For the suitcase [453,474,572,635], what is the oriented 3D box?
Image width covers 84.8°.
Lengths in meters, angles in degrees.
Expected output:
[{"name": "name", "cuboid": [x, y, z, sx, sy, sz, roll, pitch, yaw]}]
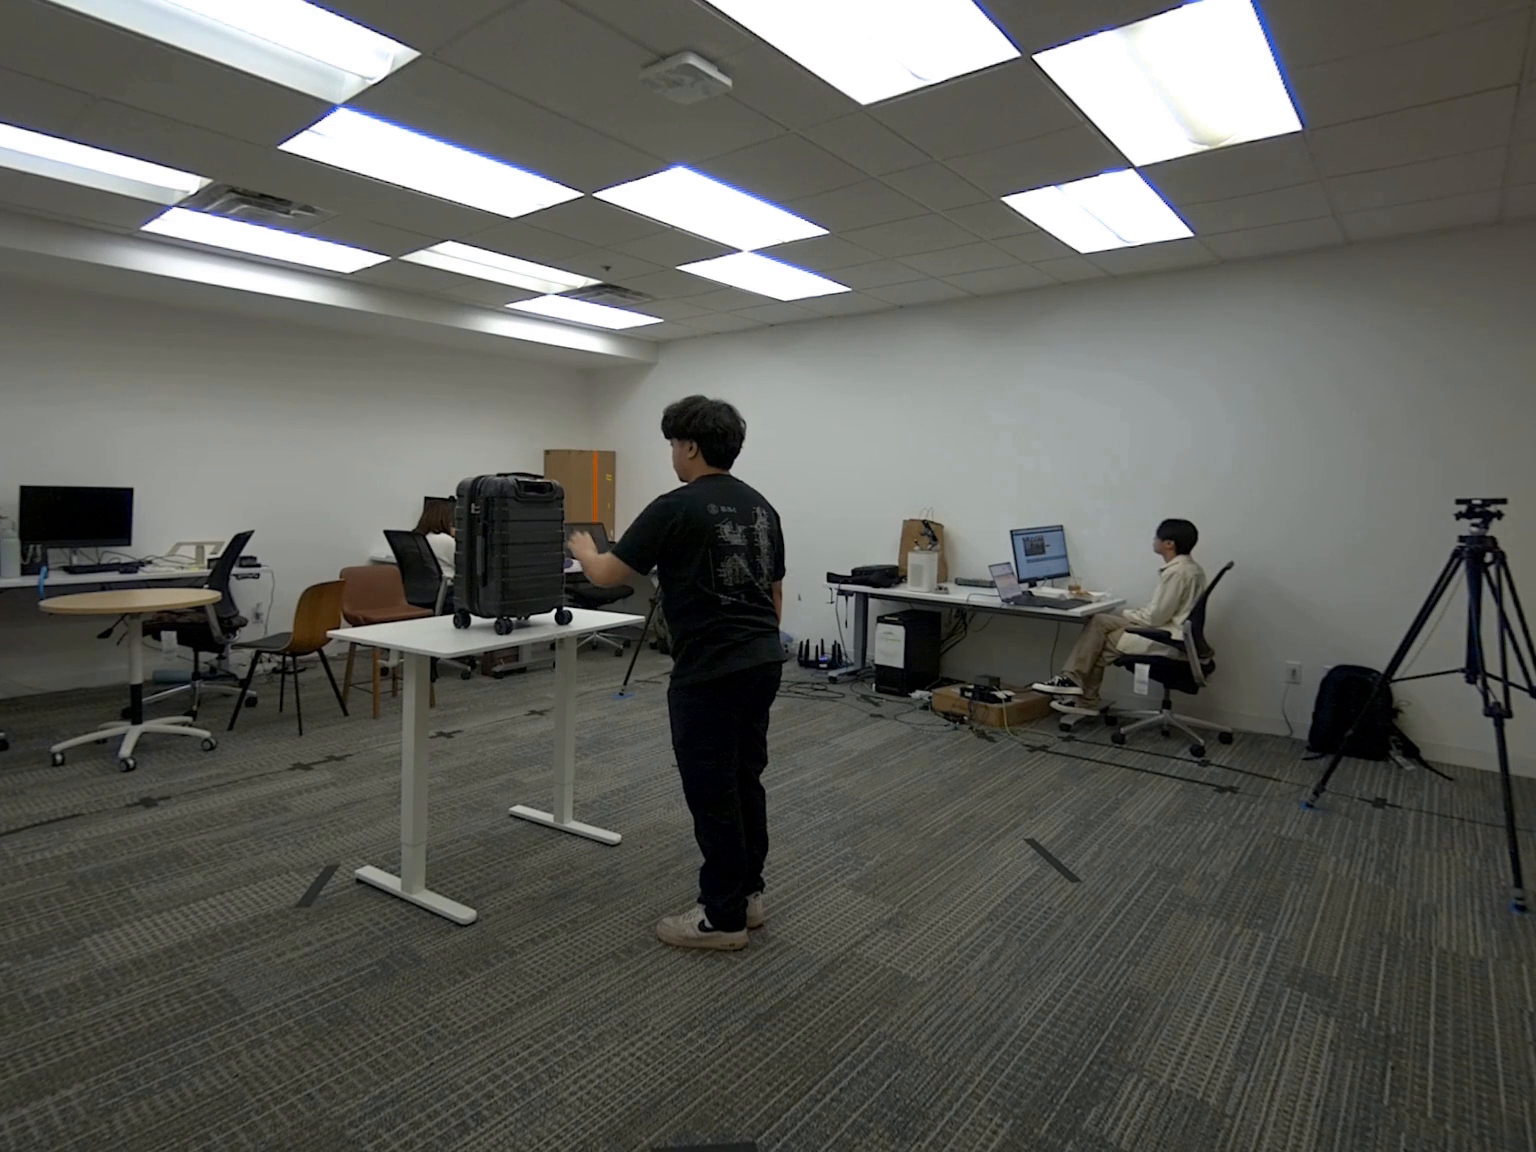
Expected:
[{"name": "suitcase", "cuboid": [-0.942, -0.098, 3.073, 0.256, 0.548, 0.365, 2, 3, 31]}]
